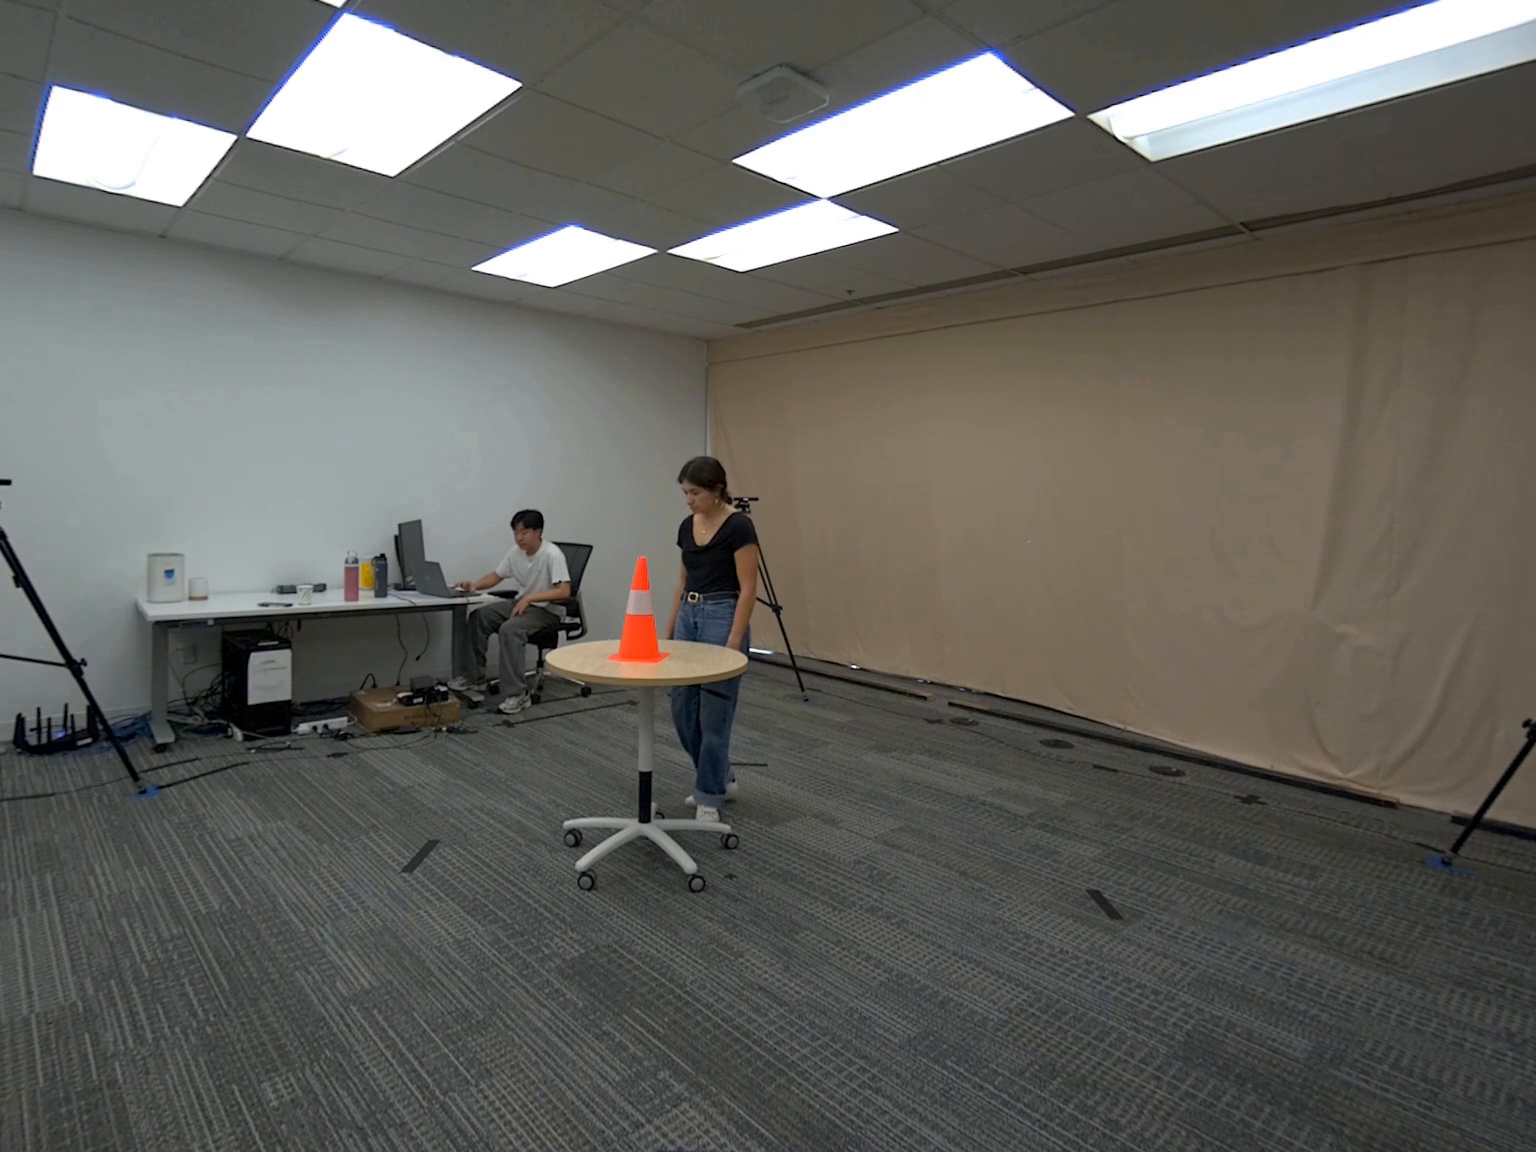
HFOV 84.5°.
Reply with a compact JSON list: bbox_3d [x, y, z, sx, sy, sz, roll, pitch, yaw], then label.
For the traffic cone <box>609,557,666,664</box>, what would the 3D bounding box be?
[{"bbox_3d":[-0.497,0.124,3.194,0.205,0.383,0.204,2,2,7],"label":"traffic cone"}]
